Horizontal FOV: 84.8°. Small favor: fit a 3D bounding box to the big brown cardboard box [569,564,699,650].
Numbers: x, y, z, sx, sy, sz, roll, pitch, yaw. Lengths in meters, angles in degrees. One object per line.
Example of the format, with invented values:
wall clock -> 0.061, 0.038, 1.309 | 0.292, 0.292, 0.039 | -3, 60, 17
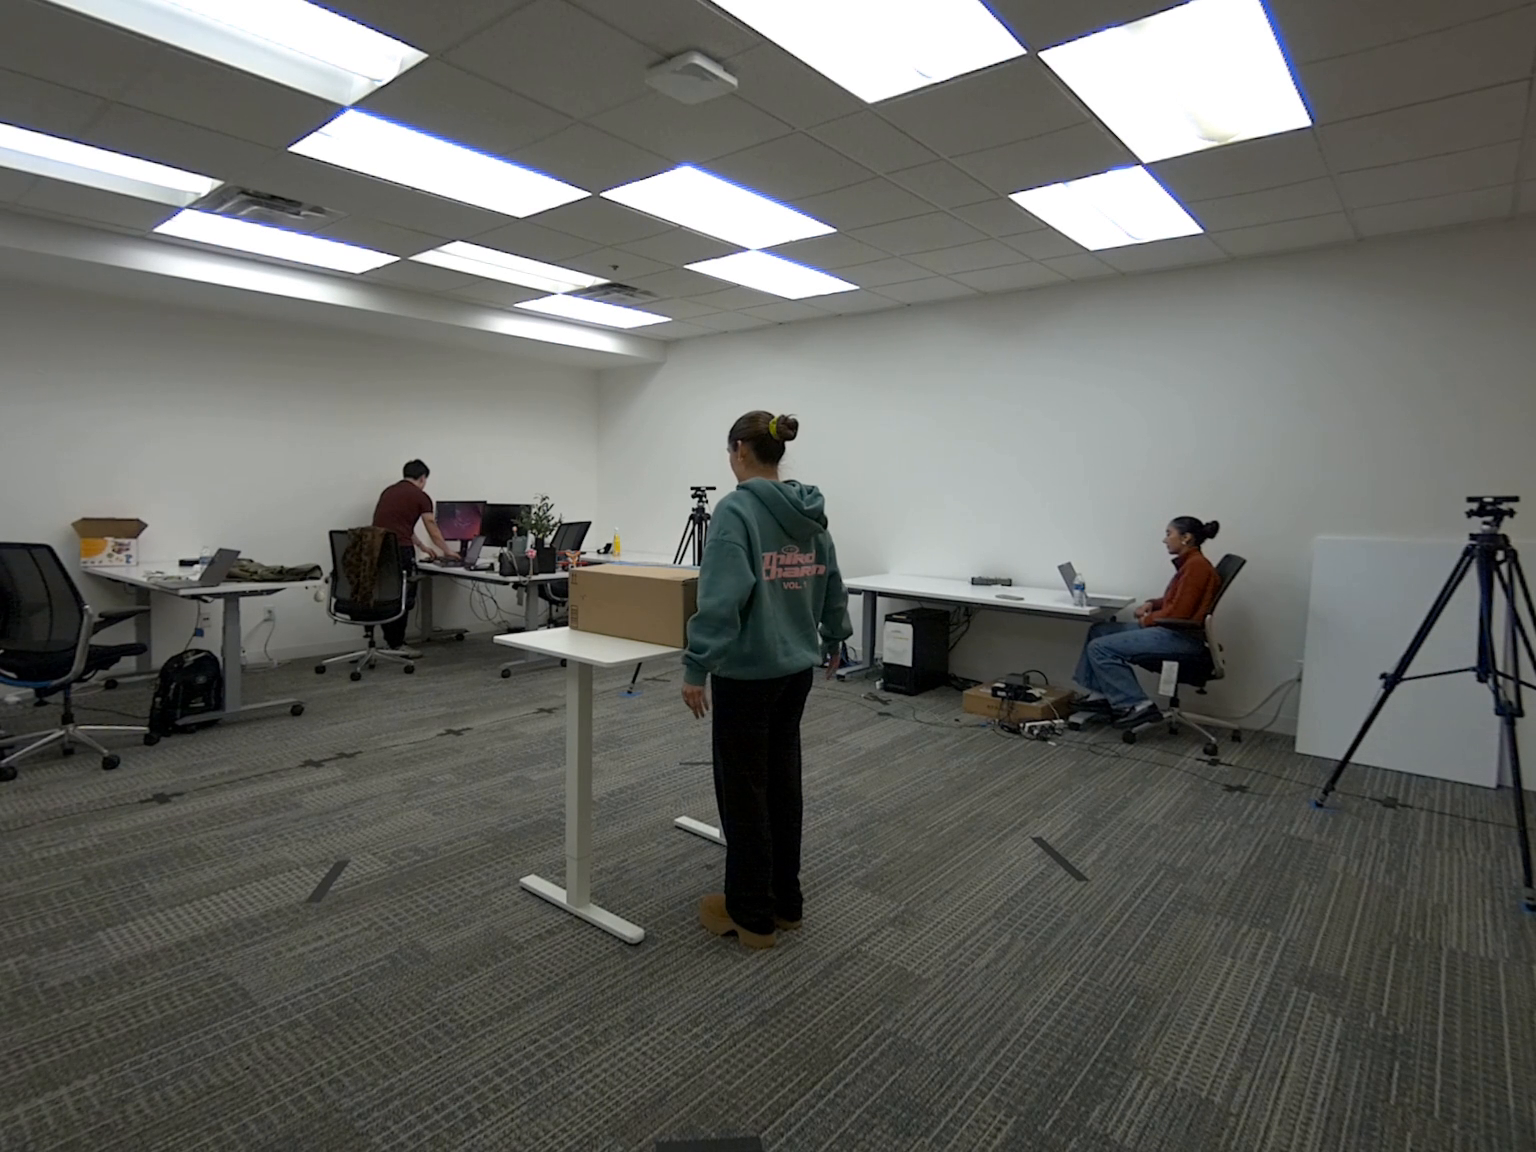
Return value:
big brown cardboard box -> -0.366, 0.083, 2.983 | 0.608, 0.232, 0.405 | 4, 6, 39
